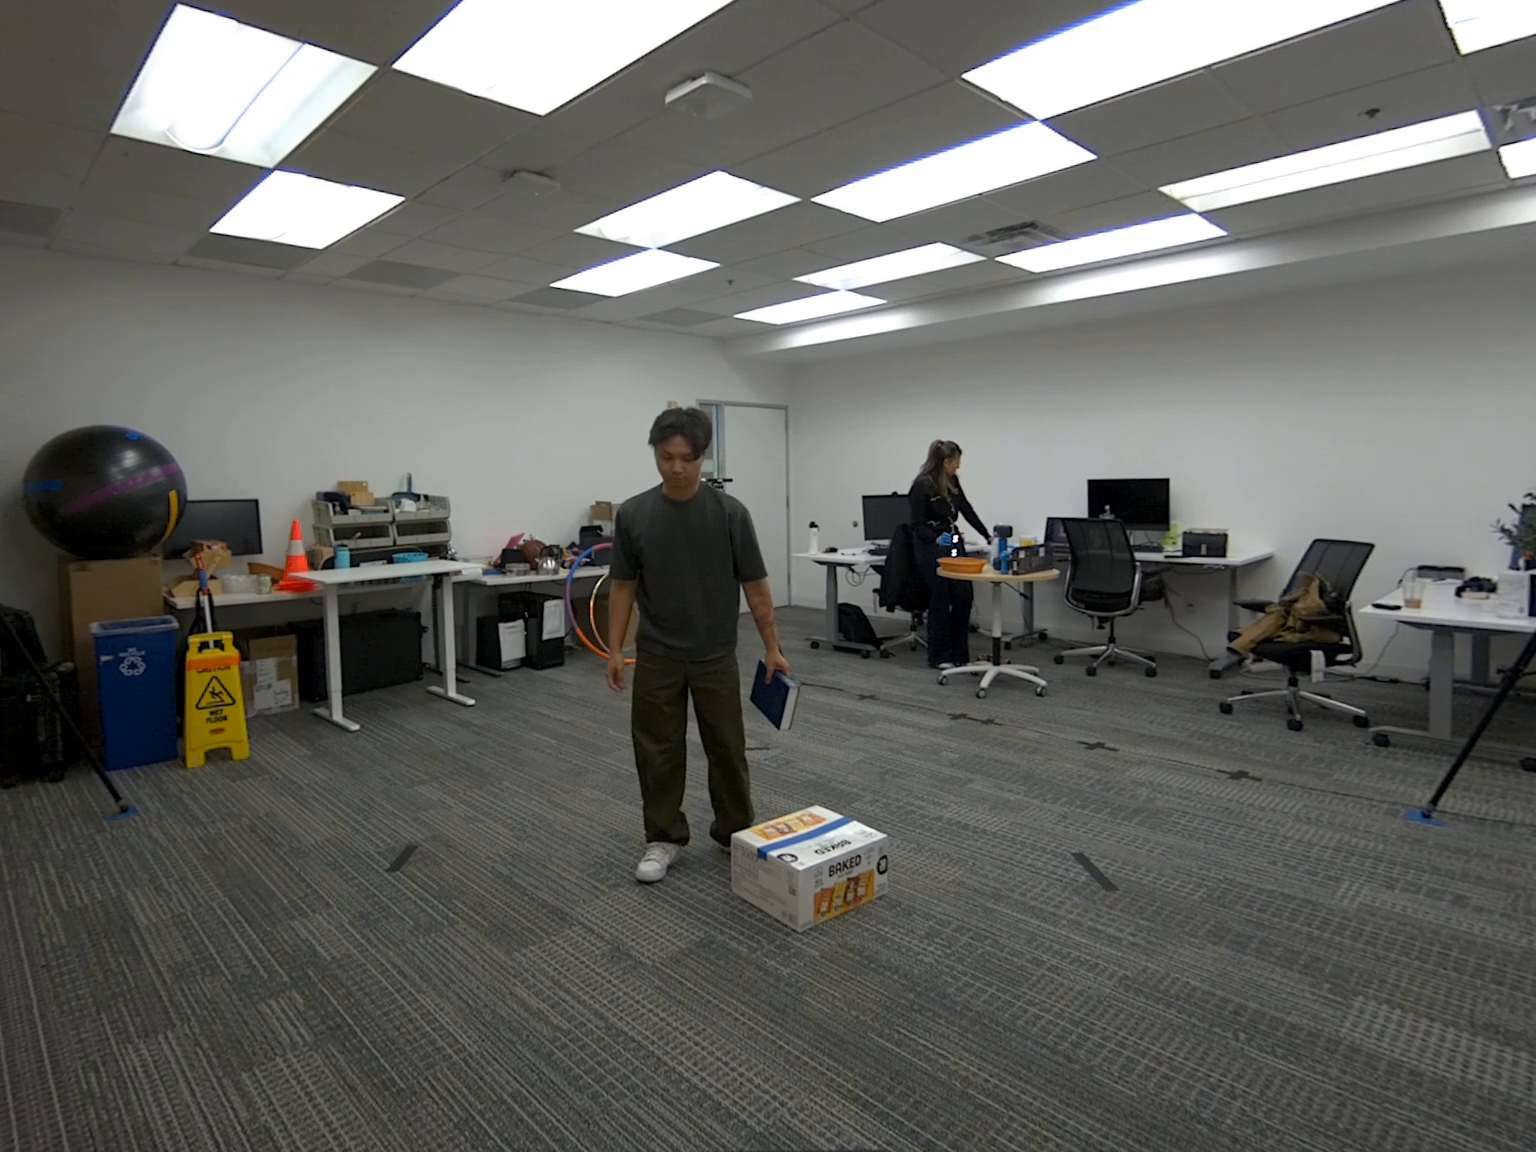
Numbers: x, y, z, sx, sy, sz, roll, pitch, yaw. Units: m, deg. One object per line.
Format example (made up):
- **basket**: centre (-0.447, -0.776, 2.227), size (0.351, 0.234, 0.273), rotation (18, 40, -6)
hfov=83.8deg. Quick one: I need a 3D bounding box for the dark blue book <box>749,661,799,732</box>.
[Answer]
- **dark blue book**: centre (0.019, 0.421, 3.016), size (0.044, 0.162, 0.253), rotation (3, 14, -26)
